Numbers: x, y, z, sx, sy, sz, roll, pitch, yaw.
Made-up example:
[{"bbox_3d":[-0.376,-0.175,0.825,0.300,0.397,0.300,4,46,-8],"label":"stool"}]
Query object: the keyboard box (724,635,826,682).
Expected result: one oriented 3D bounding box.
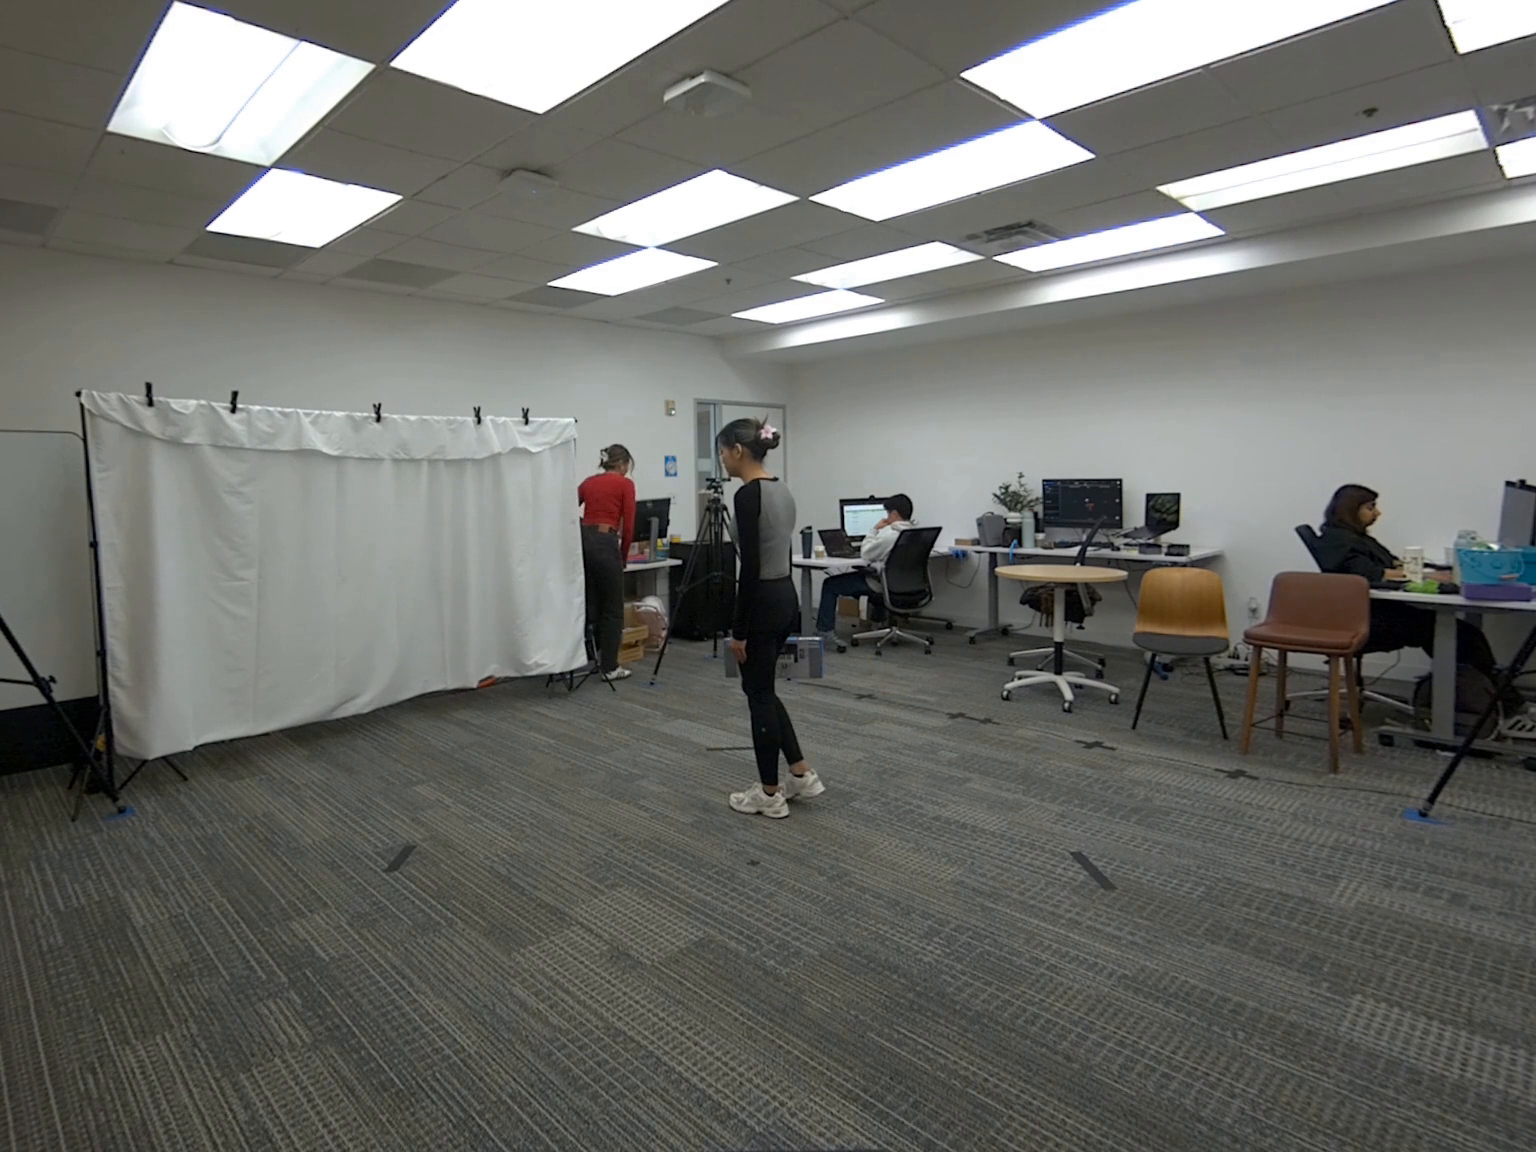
[{"bbox_3d":[0.027,0.361,3.791,0.442,0.175,0.059,-1,5,12],"label":"keyboard box"}]
